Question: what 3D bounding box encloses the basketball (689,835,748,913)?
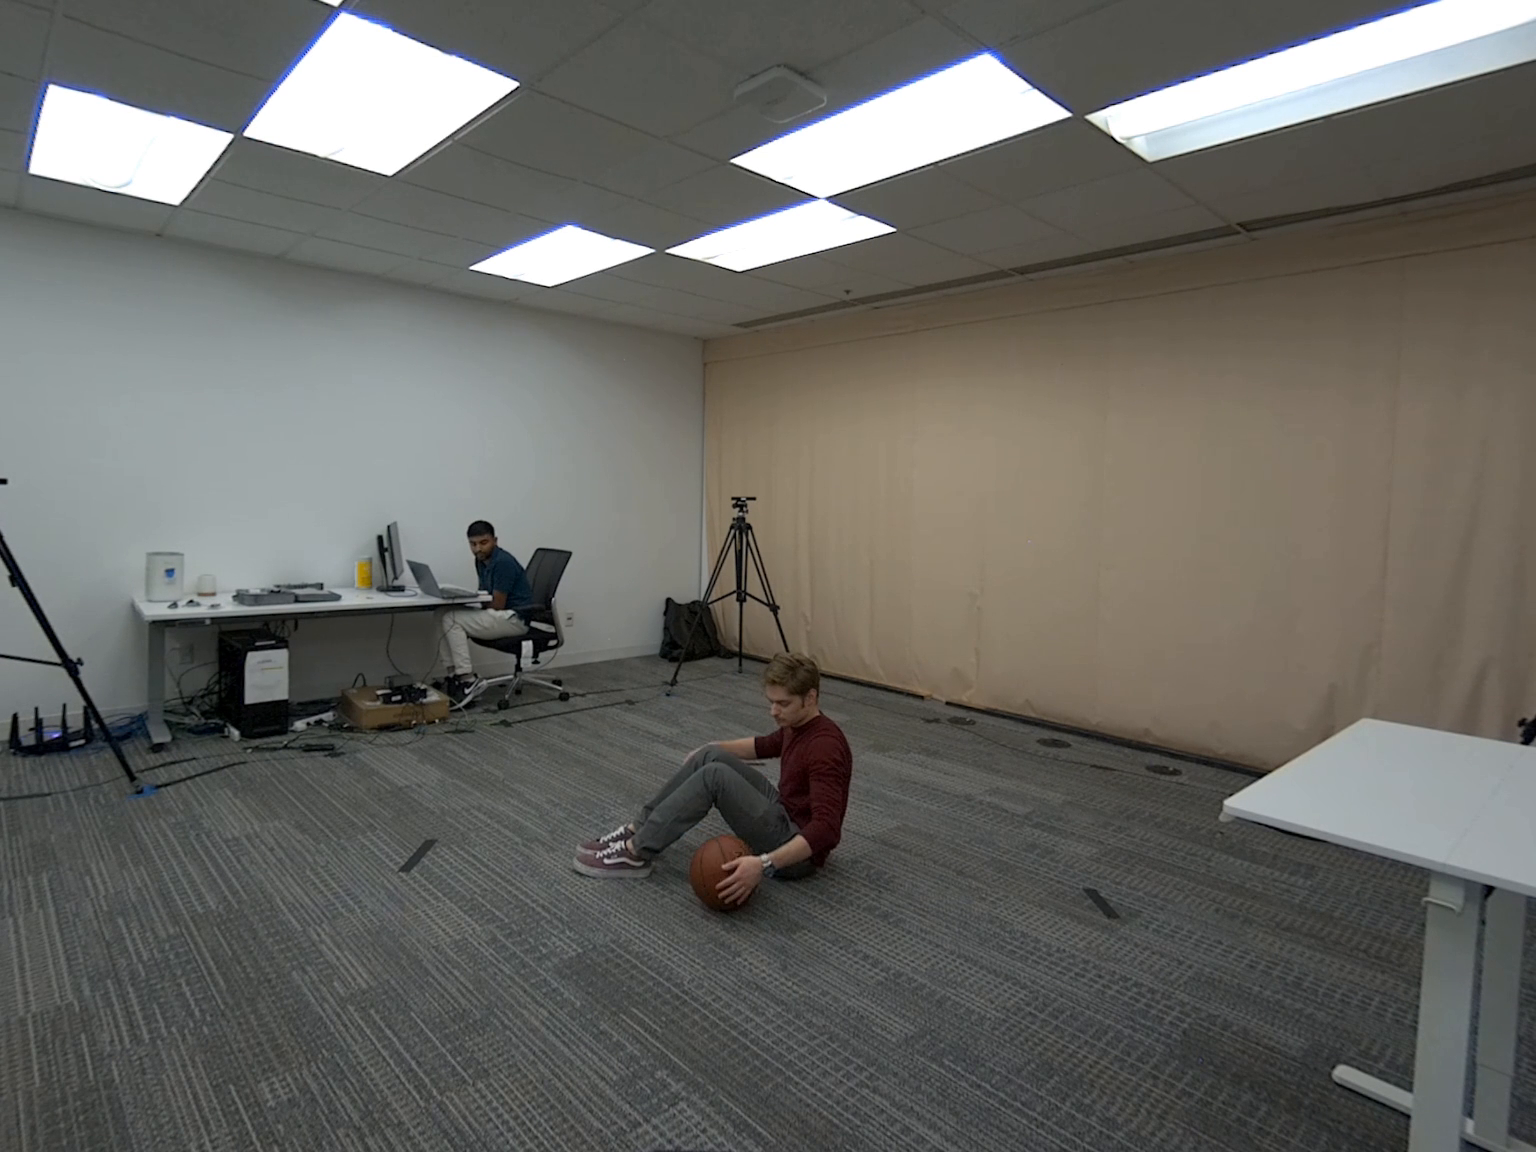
[{"bbox_3d":[-0.164,1.007,2.866,0.236,0.235,0.237,1,4,-1],"label":"basketball"}]
